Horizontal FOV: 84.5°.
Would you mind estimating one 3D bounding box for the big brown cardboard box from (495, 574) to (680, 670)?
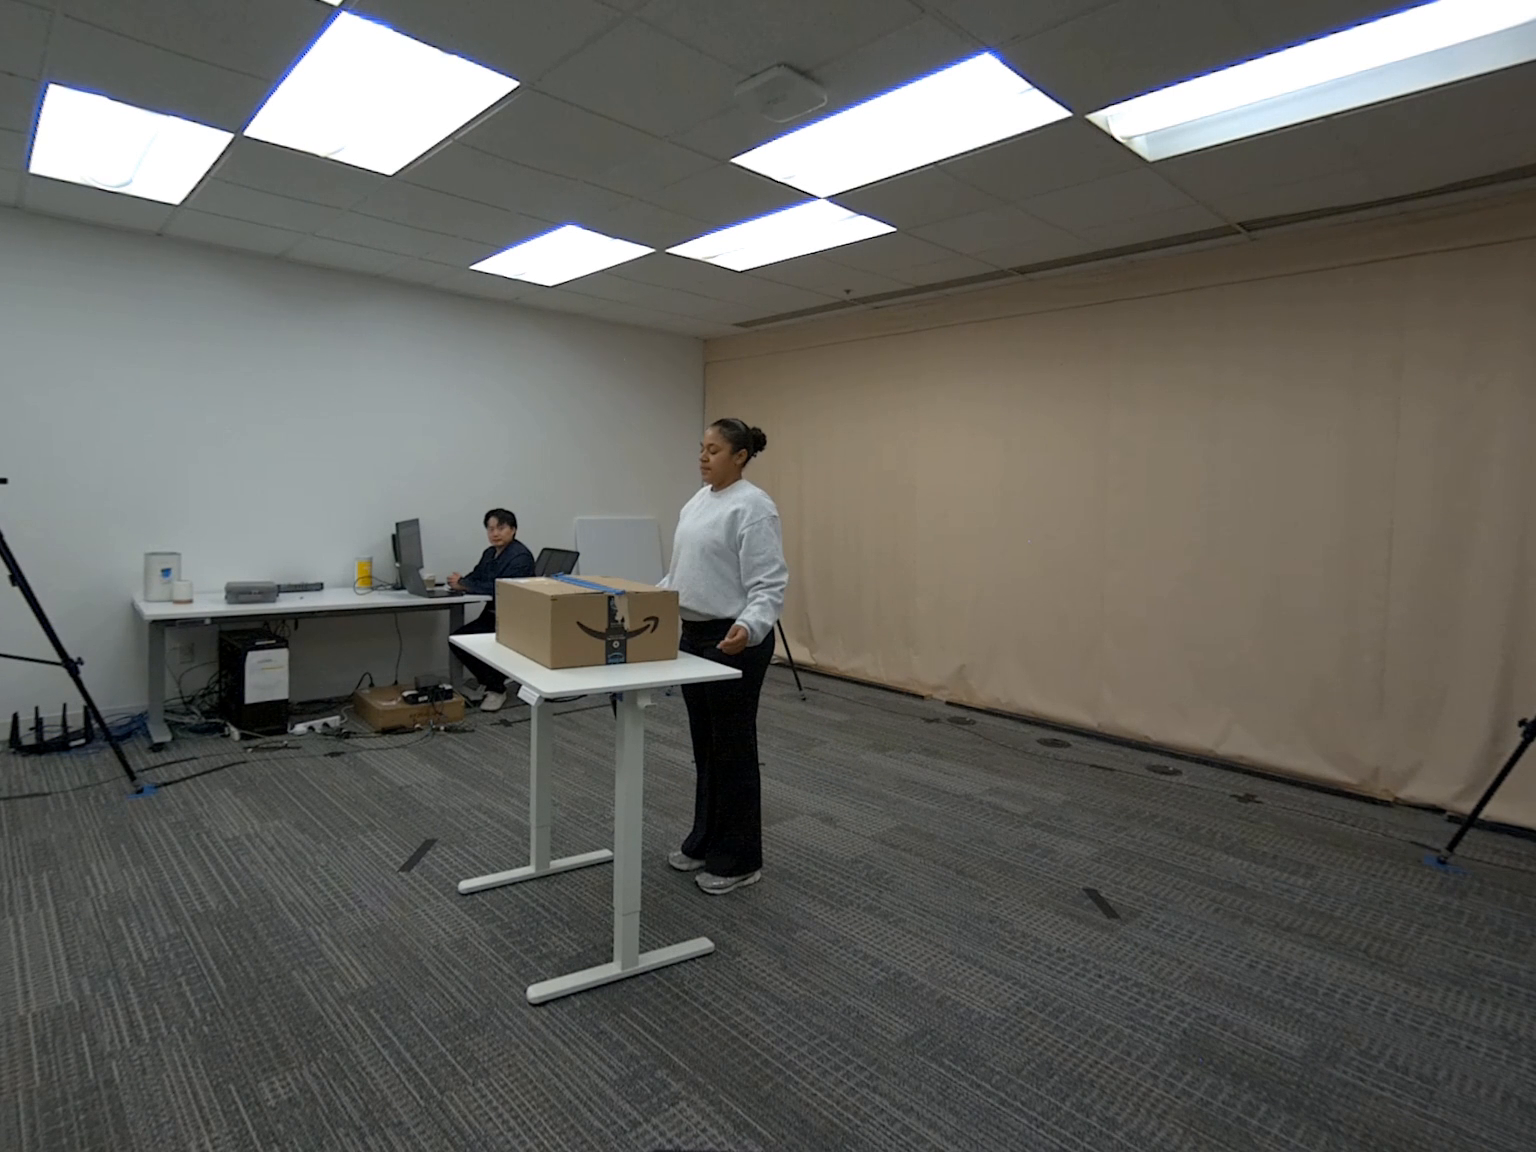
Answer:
[{"bbox_3d":[-0.614,0.134,2.765,0.409,0.232,0.603,-2,6,-33],"label":"big brown cardboard box"}]
